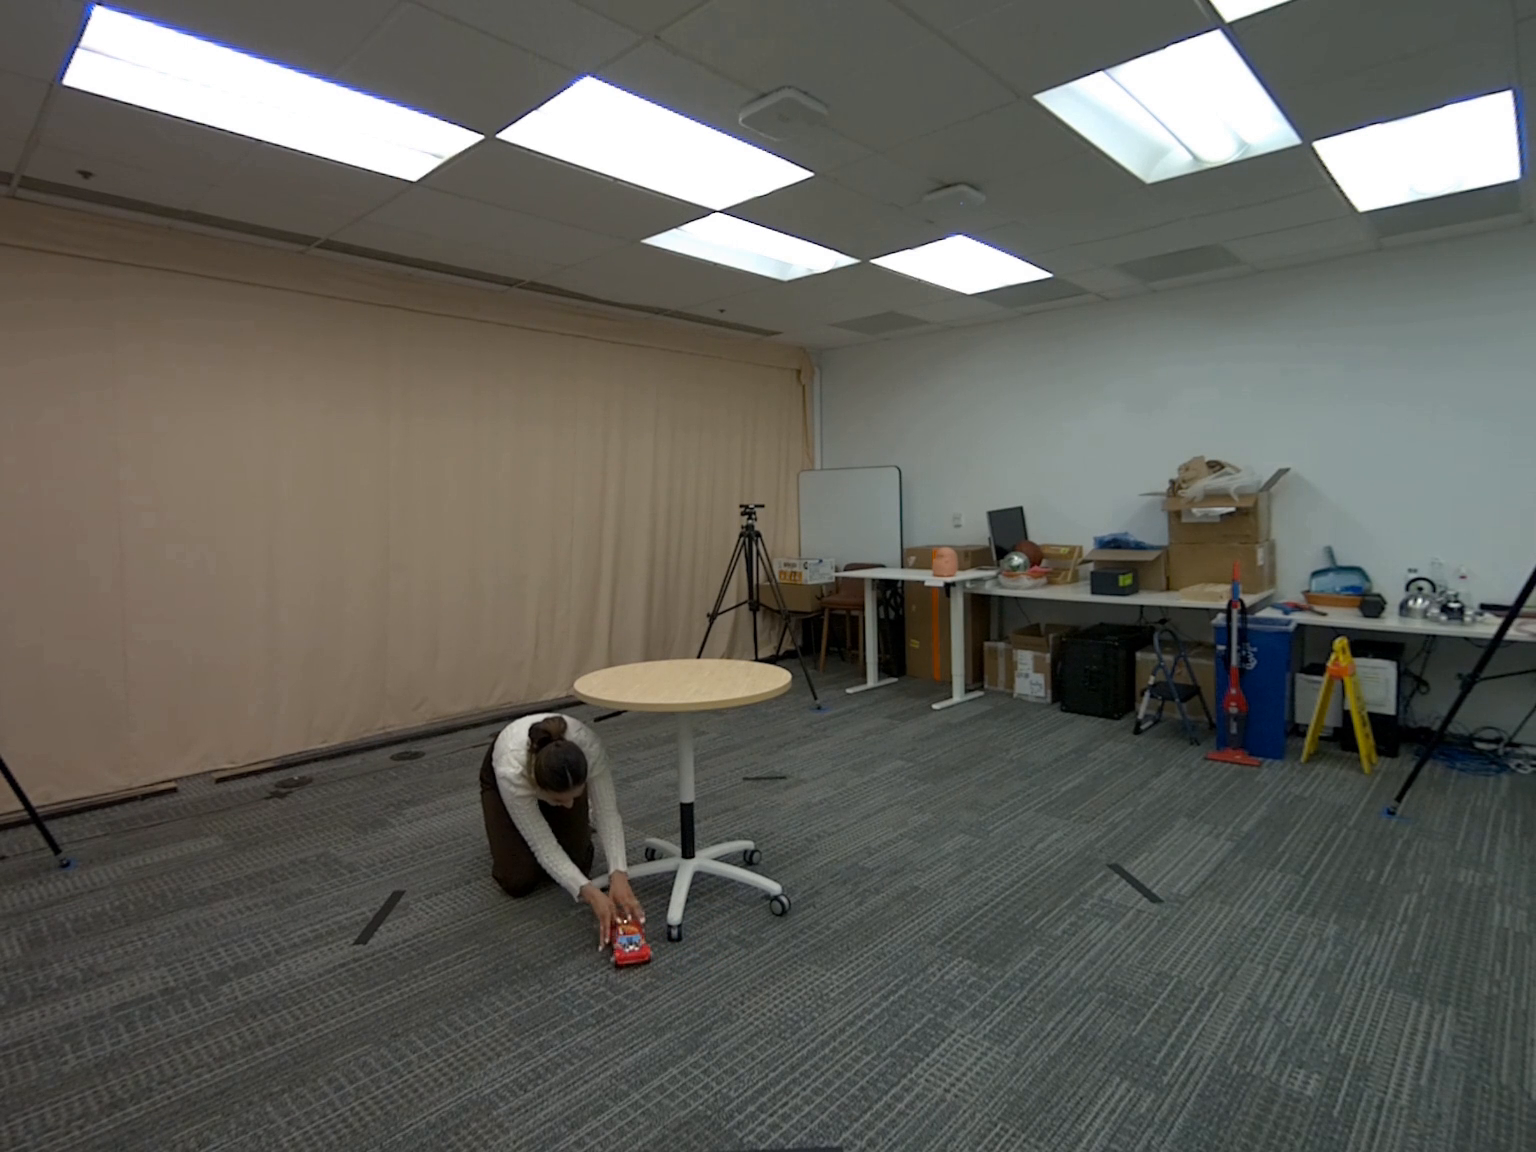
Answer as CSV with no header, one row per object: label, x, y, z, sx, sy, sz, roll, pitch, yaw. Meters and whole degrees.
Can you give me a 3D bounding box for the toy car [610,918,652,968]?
toy car,-0.439,1.155,2.635,0.128,0.082,0.261,0,15,-18
